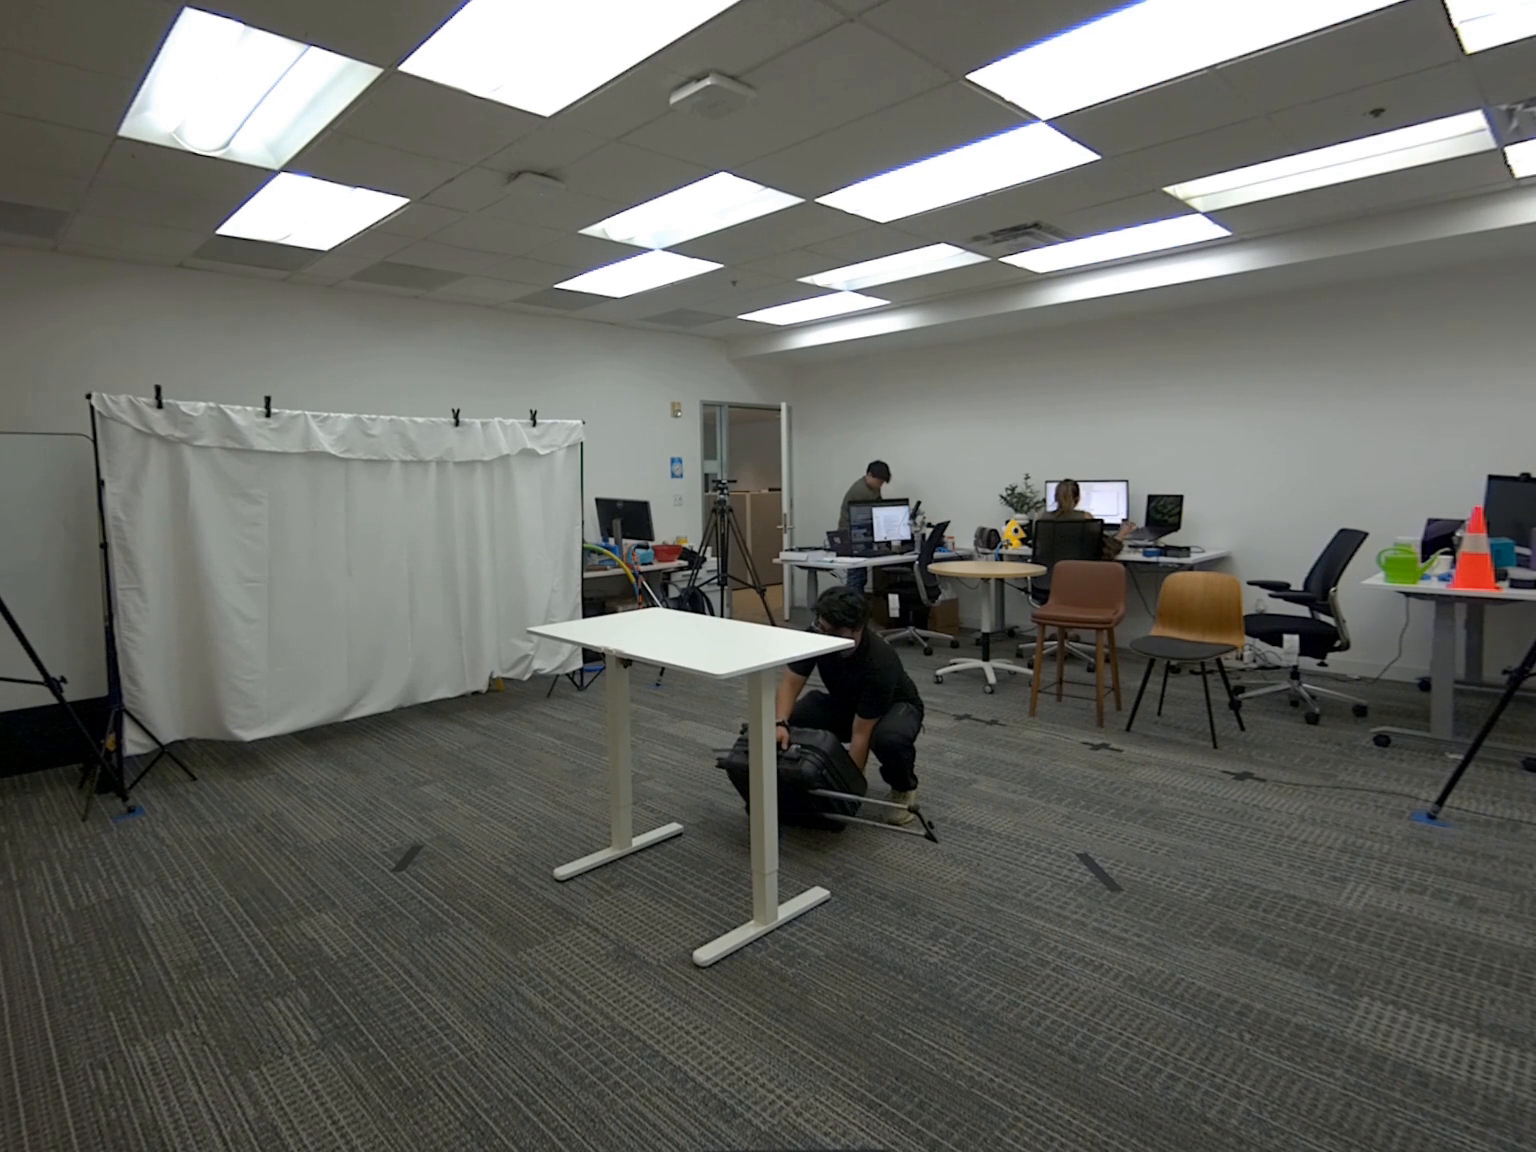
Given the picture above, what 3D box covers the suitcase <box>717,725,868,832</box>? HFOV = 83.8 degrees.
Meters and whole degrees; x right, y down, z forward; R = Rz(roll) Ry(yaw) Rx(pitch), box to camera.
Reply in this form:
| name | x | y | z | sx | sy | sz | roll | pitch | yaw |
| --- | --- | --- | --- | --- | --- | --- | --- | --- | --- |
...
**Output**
| name | x | y | z | sx | sy | sz | roll | pitch | yaw |
| --- | --- | --- | --- | --- | --- | --- | --- | --- | --- |
| suitcase | 0.236 | 0.771 | 3.227 | 1.003 | 0.375 | 0.256 | -6 | 30 | 47 |
